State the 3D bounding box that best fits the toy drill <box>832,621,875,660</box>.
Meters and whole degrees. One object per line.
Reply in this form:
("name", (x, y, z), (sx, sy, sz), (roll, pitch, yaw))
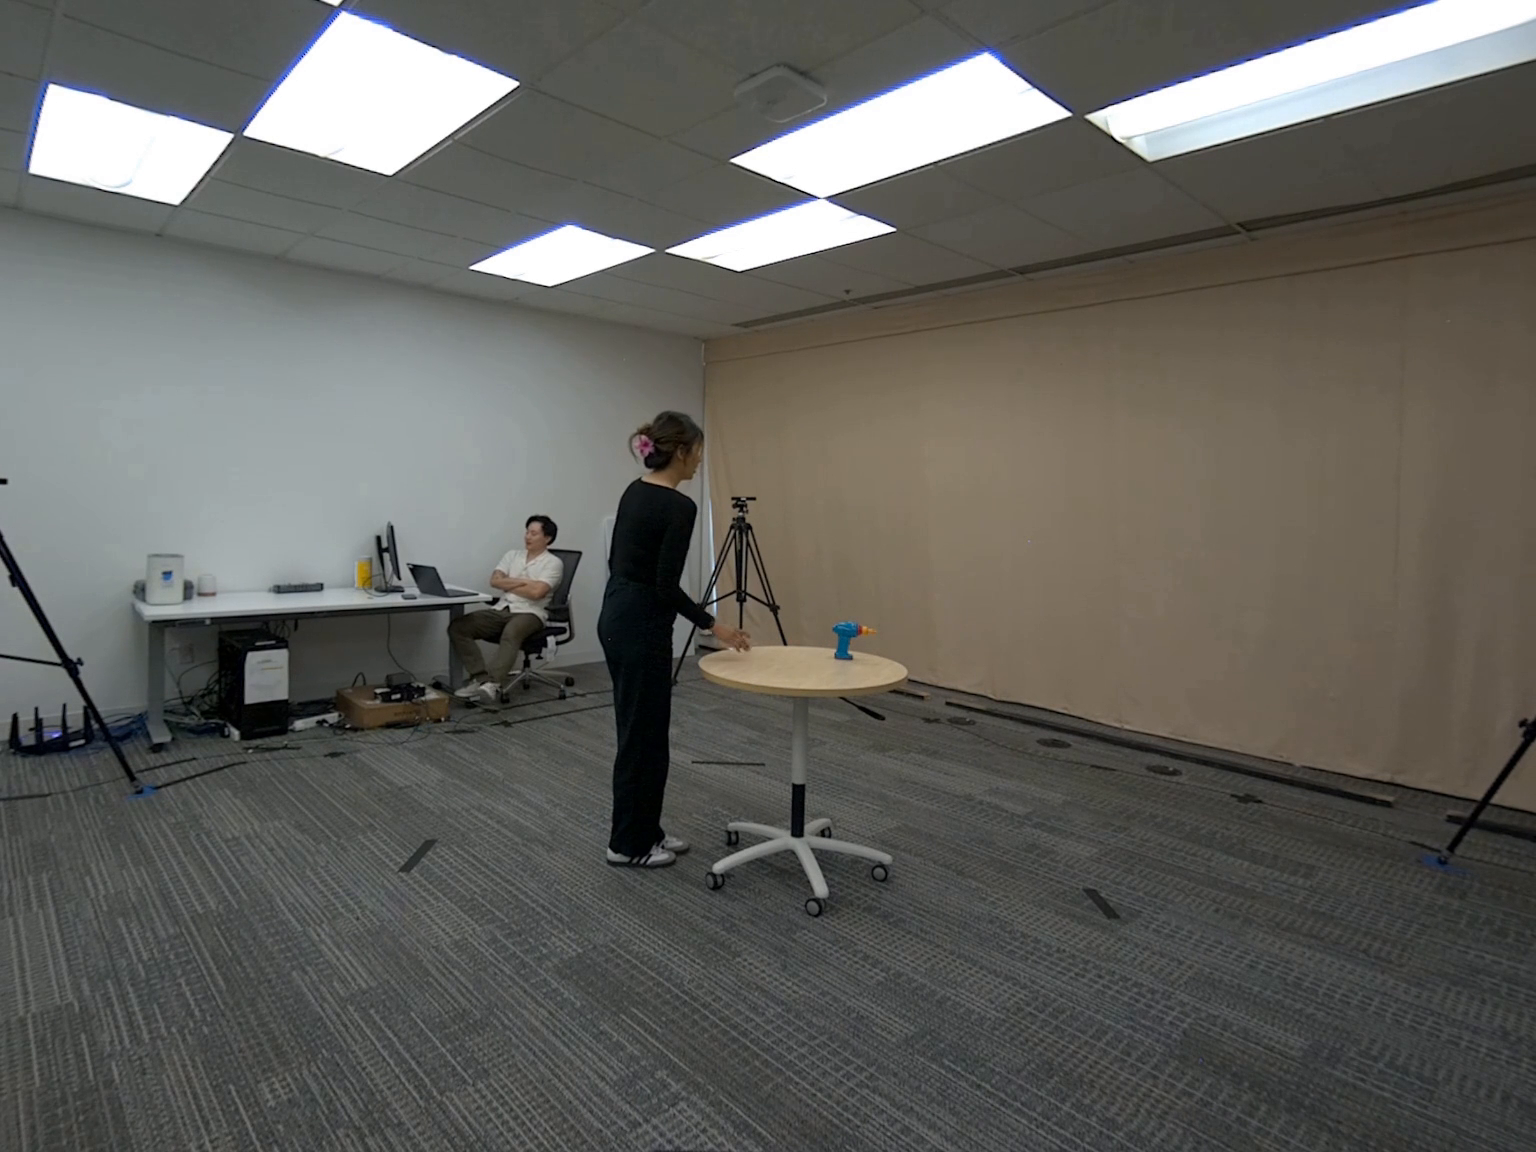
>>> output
("toy drill", (0.326, 0.247, 3.237), (0.171, 0.145, 0.061), (2, 6, 7))
